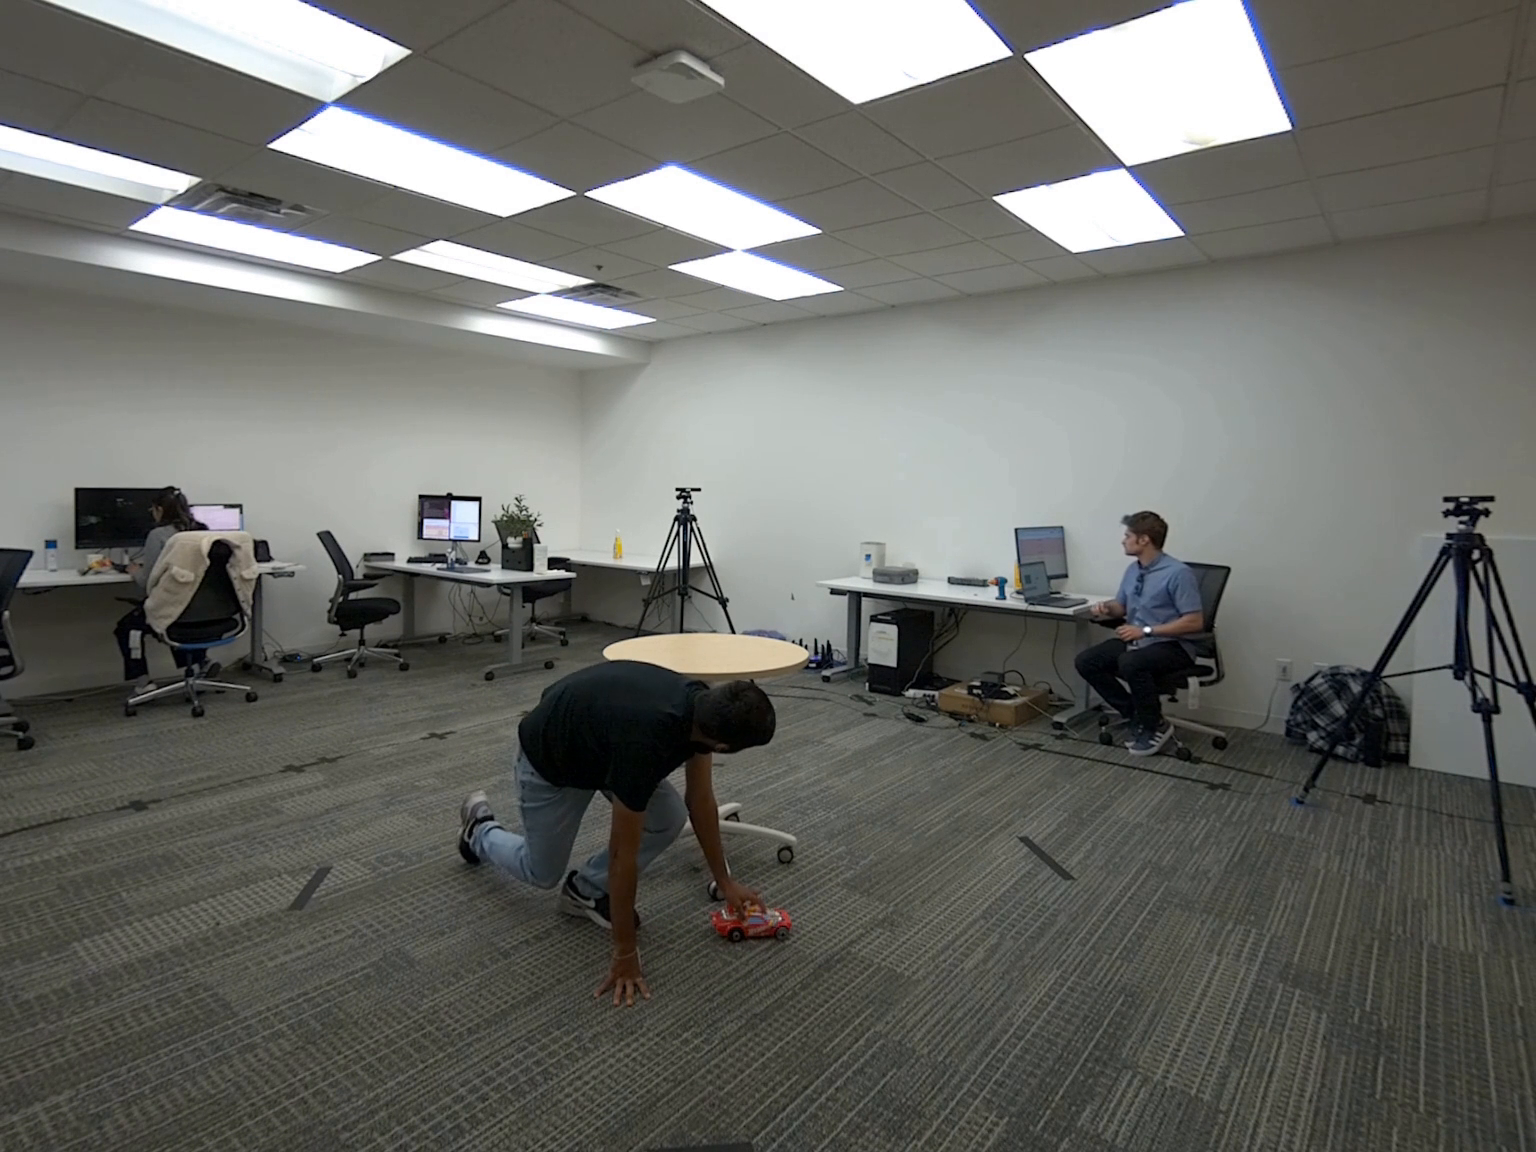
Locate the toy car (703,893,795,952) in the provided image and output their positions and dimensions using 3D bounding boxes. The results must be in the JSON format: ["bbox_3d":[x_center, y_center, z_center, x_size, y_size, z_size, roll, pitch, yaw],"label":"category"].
[{"bbox_3d":[-0.064,1.087,2.643,0.252,0.083,0.132,11,4,-9],"label":"toy car"}]
